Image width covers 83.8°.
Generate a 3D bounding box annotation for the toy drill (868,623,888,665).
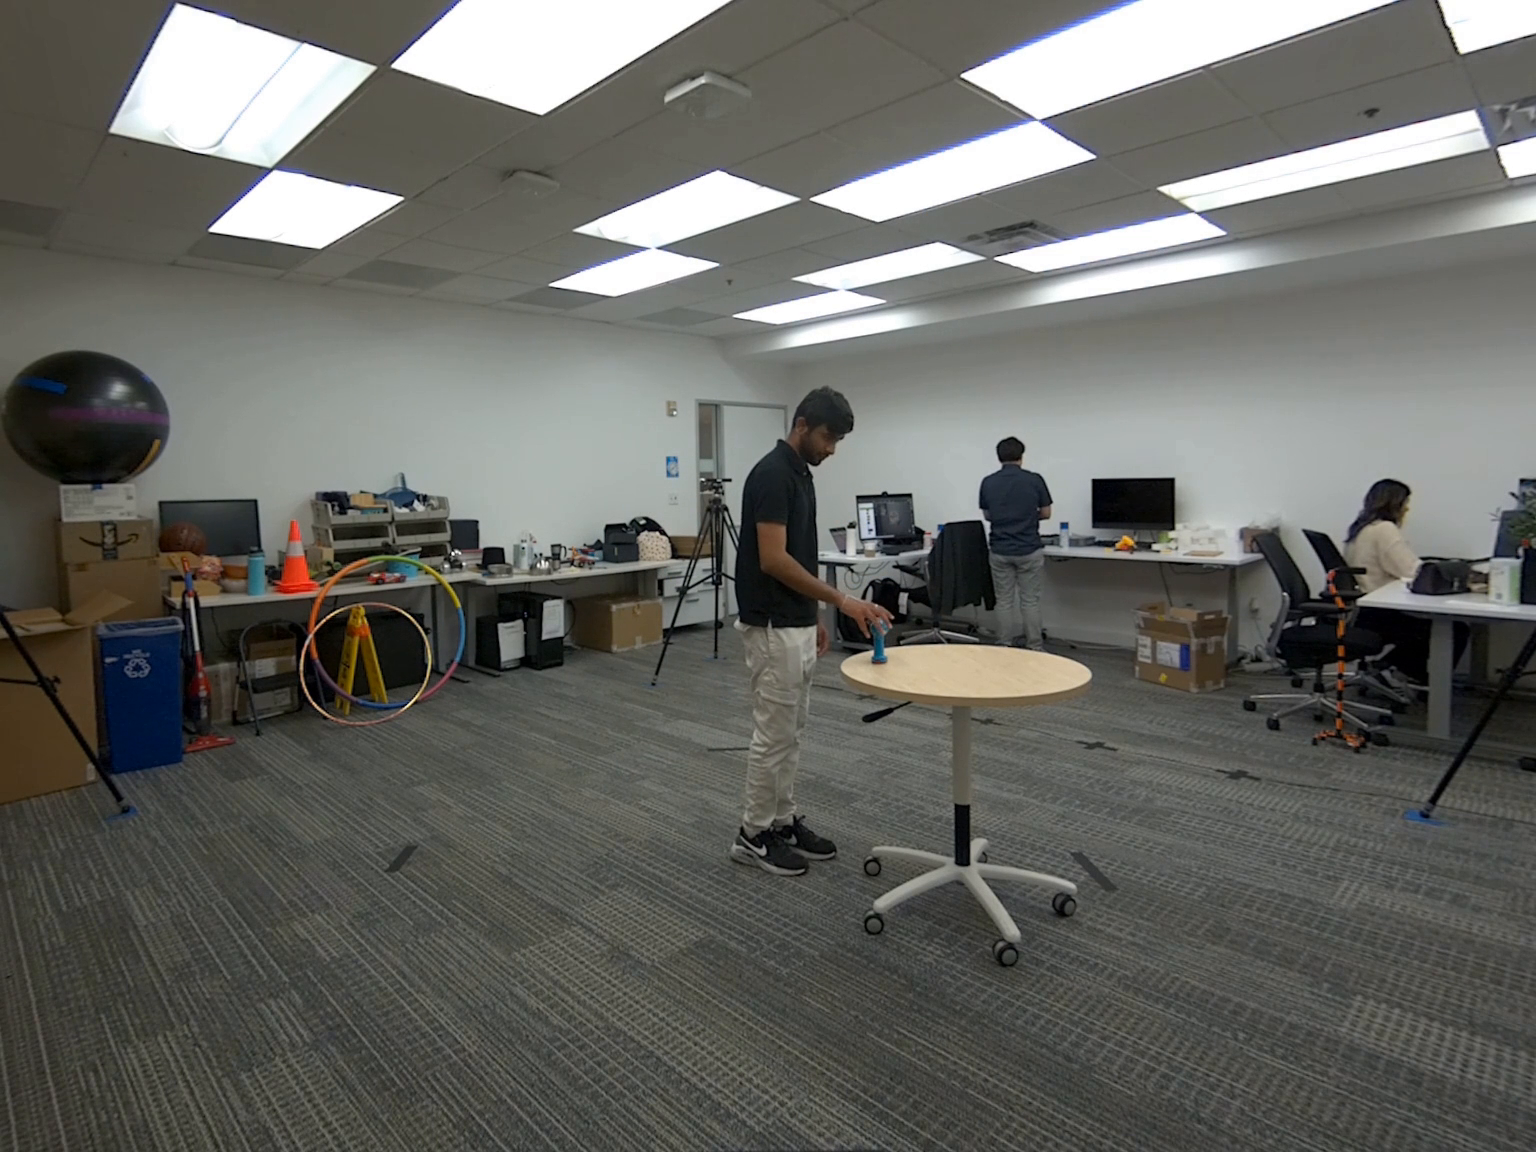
[{"bbox_3d":[0.379,0.212,2.871,0.062,0.145,0.168,0,5,11],"label":"toy drill"}]
